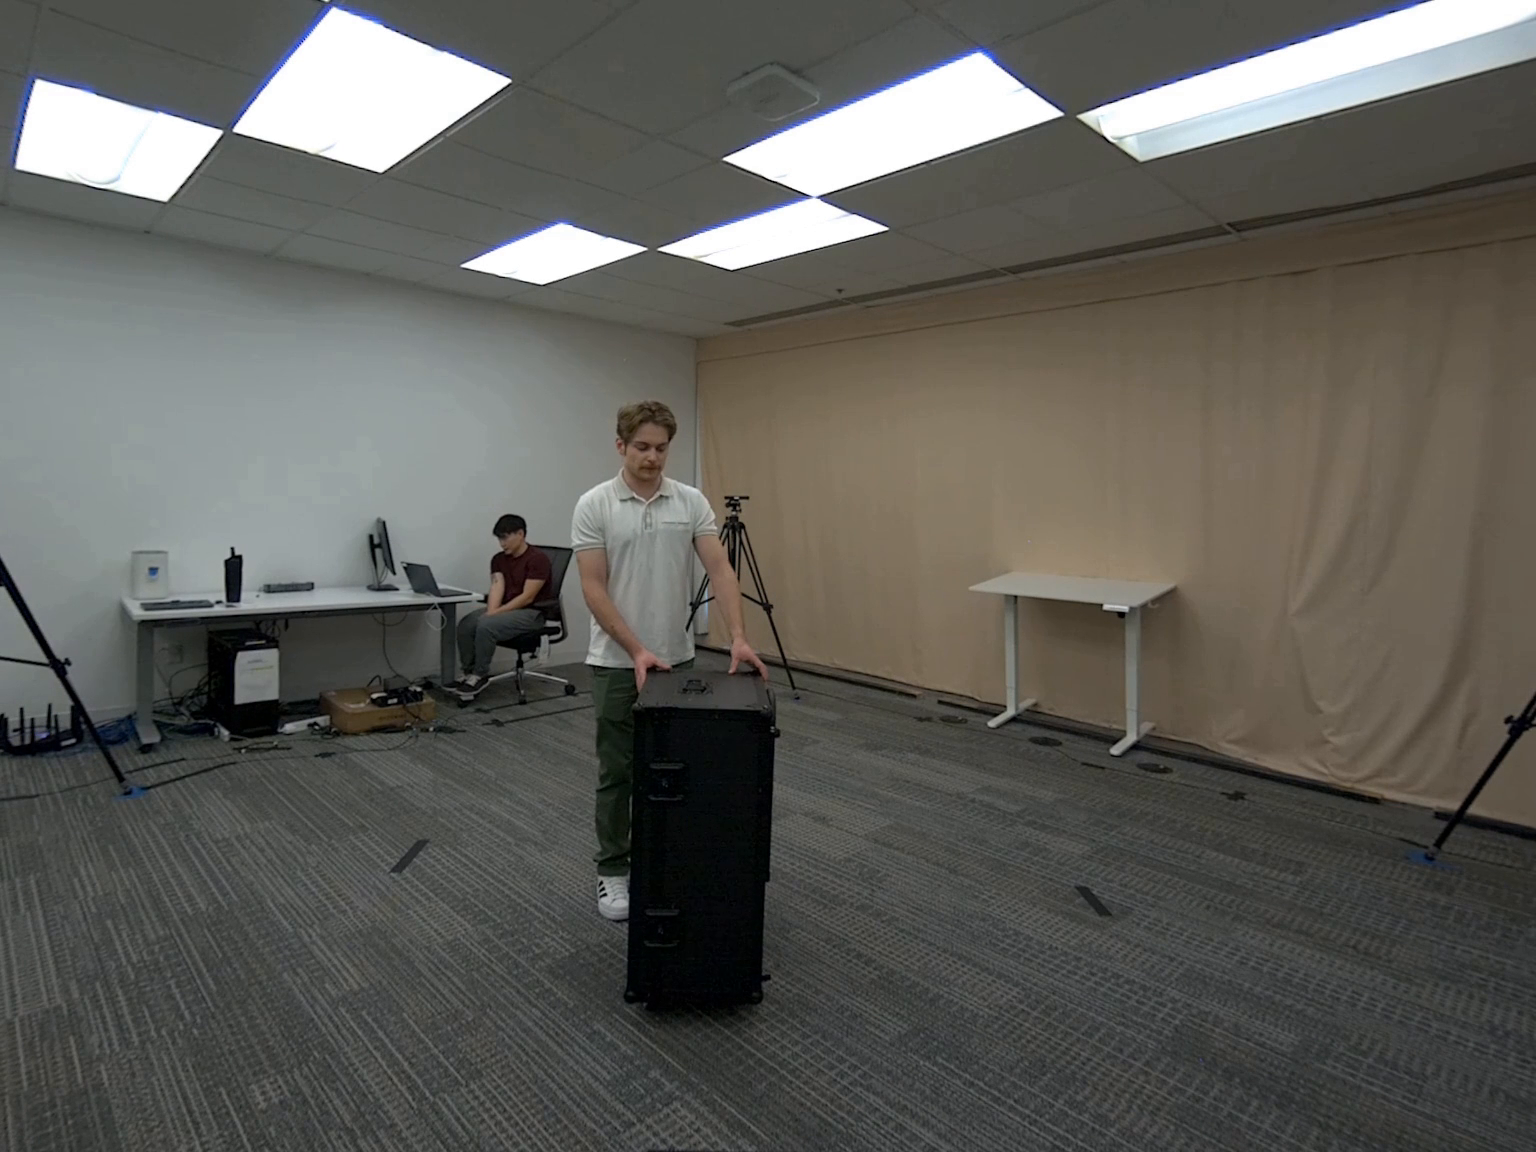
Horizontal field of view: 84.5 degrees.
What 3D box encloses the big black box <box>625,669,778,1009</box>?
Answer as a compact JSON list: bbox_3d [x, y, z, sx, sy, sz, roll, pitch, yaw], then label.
[{"bbox_3d":[-0.202,0.745,2.414,0.385,0.866,0.525,2,4,-2],"label":"big black box"}]
